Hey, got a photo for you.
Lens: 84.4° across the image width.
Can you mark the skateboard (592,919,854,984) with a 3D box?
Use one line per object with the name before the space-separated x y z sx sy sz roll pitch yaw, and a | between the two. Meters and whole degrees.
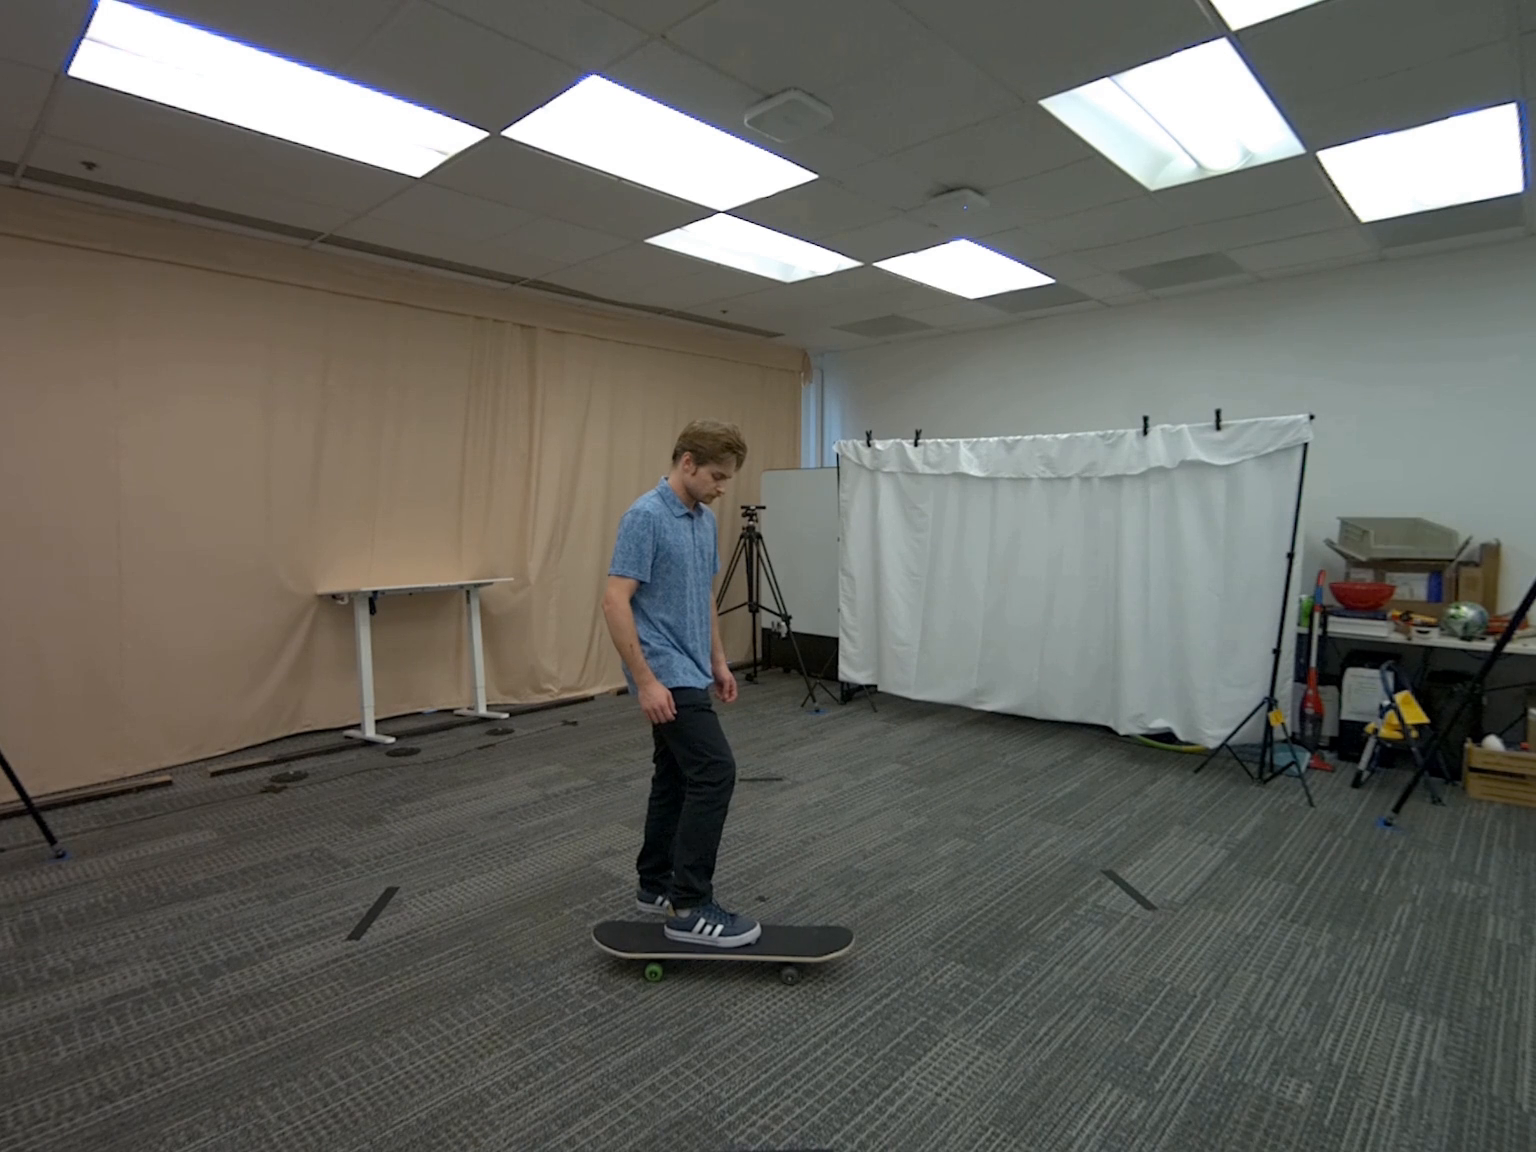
skateboard | -0.128 1.120 2.542 0.788 0.110 0.193 0 2 2
